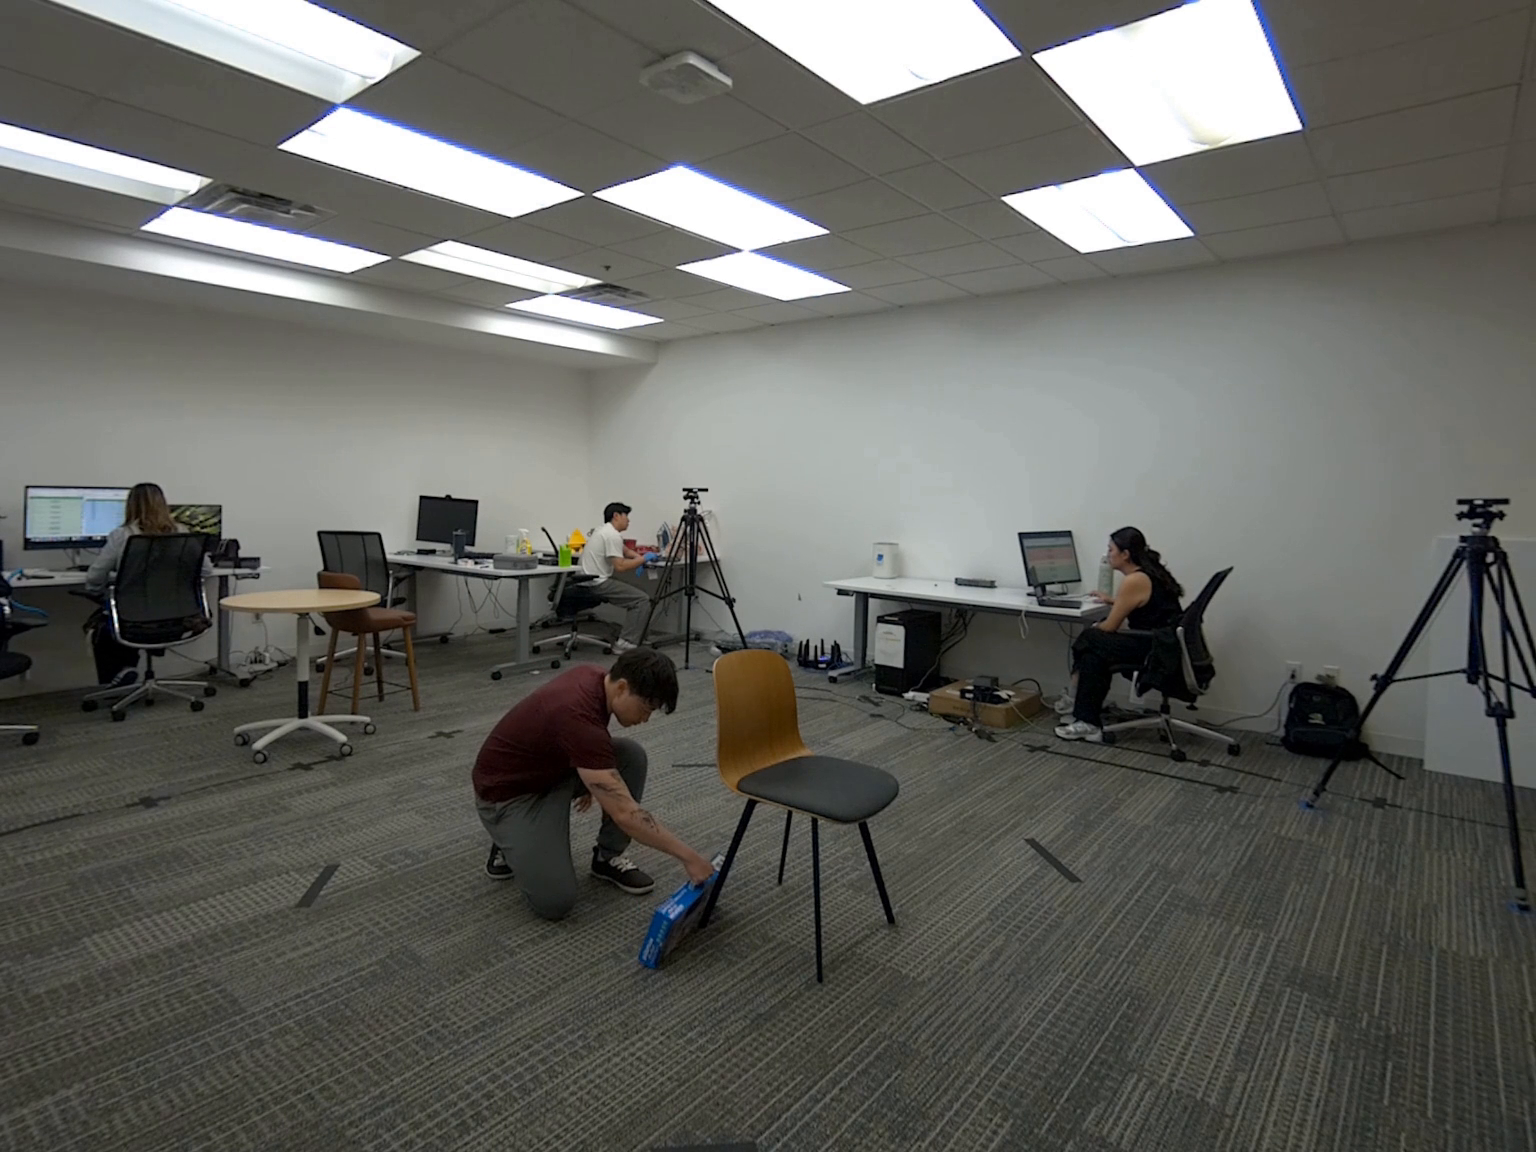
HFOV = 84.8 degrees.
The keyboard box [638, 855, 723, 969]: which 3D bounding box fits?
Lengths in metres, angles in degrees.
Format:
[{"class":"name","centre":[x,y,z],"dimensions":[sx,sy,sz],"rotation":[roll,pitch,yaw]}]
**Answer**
[{"class":"keyboard box","centre":[-0.260,1.027,2.639],"dimensions":[0.061,0.175,0.428],"rotation":[22,12,18]}]
